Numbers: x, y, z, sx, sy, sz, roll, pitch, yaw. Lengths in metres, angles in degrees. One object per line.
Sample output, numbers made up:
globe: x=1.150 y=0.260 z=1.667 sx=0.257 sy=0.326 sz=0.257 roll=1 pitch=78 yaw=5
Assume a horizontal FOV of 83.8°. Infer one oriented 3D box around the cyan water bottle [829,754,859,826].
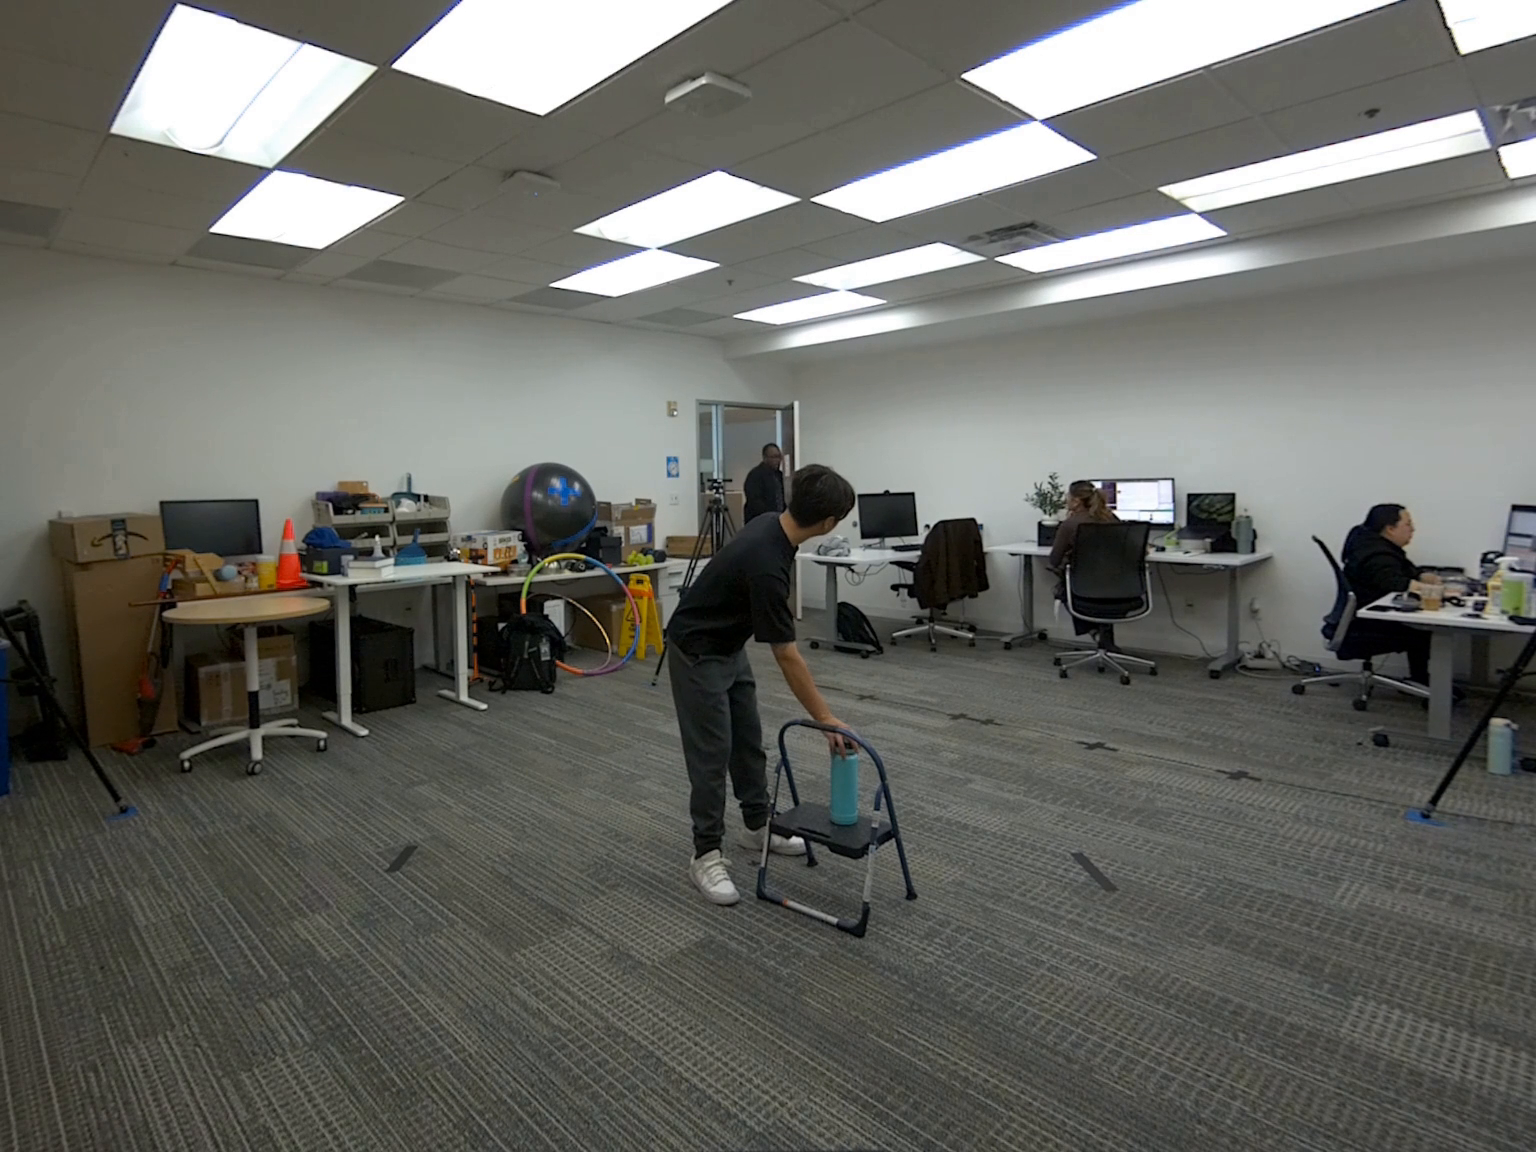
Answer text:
cyan water bottle: x=0.253 y=0.671 z=2.827 sx=0.092 sy=0.282 sz=0.093 roll=1 pitch=3 yaw=-2
